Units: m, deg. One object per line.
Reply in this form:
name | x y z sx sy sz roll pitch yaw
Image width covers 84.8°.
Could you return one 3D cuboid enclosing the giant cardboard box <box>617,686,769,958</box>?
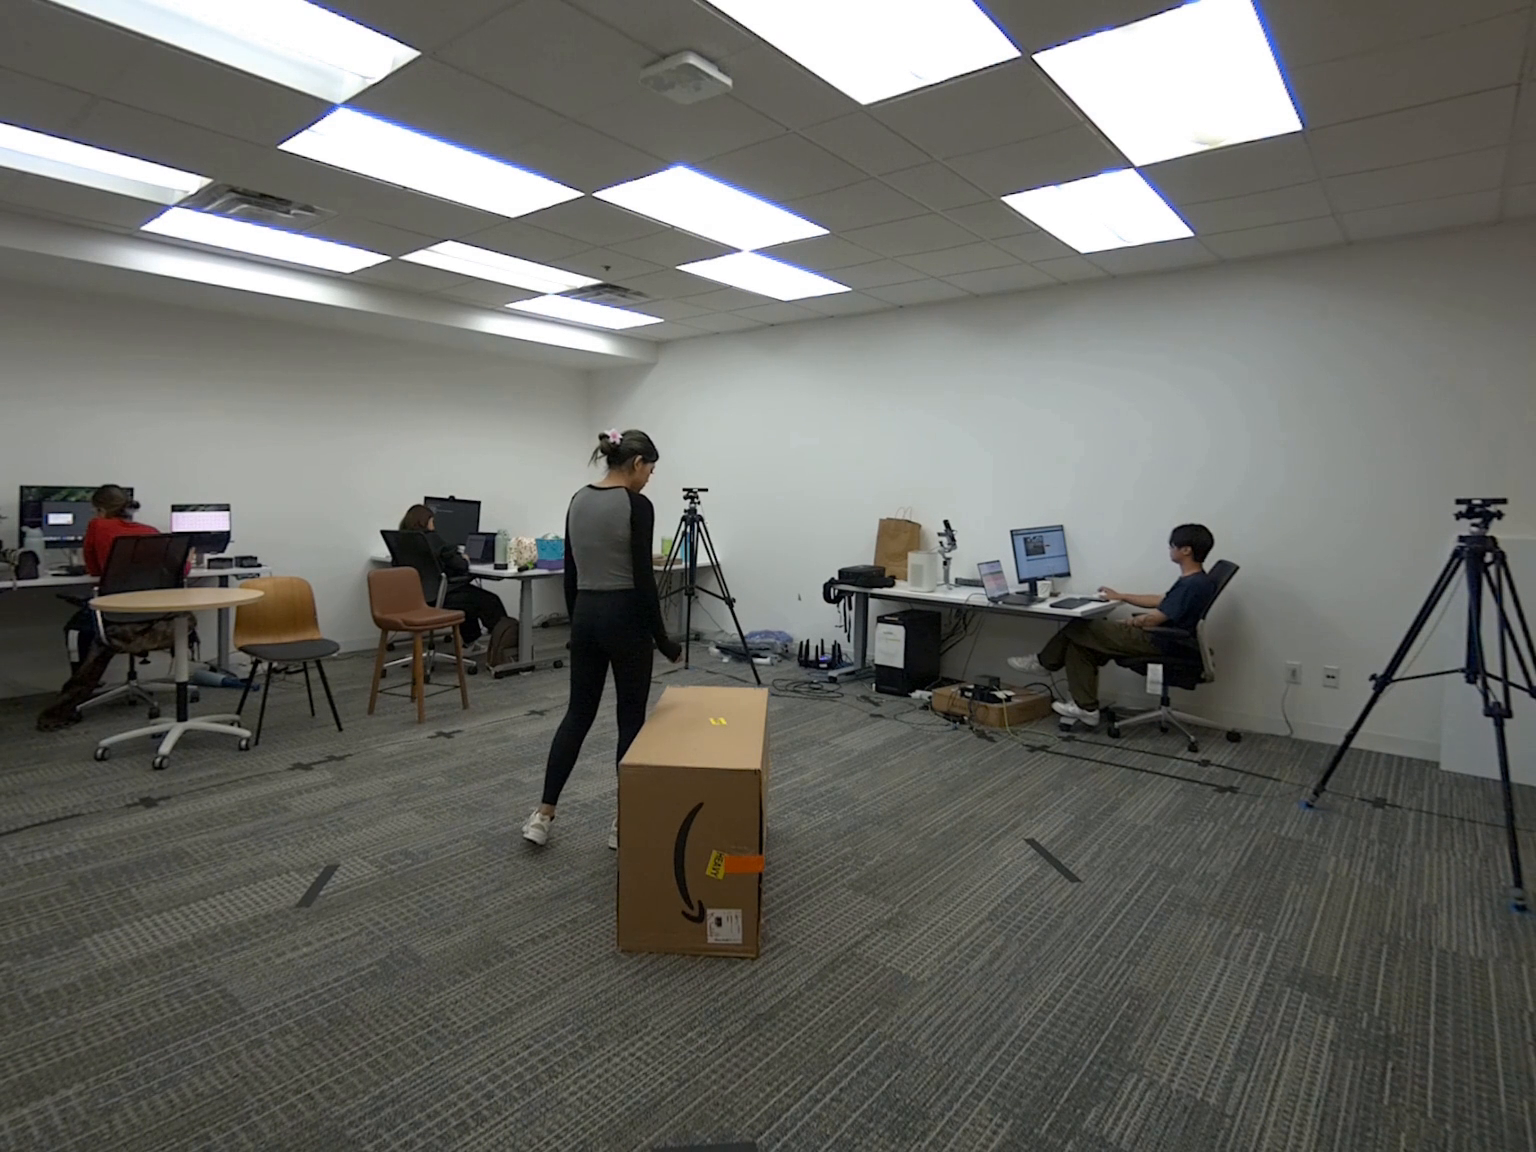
giant cardboard box | -0.228 0.790 3.016 0.428 0.575 1.026 0 5 2
